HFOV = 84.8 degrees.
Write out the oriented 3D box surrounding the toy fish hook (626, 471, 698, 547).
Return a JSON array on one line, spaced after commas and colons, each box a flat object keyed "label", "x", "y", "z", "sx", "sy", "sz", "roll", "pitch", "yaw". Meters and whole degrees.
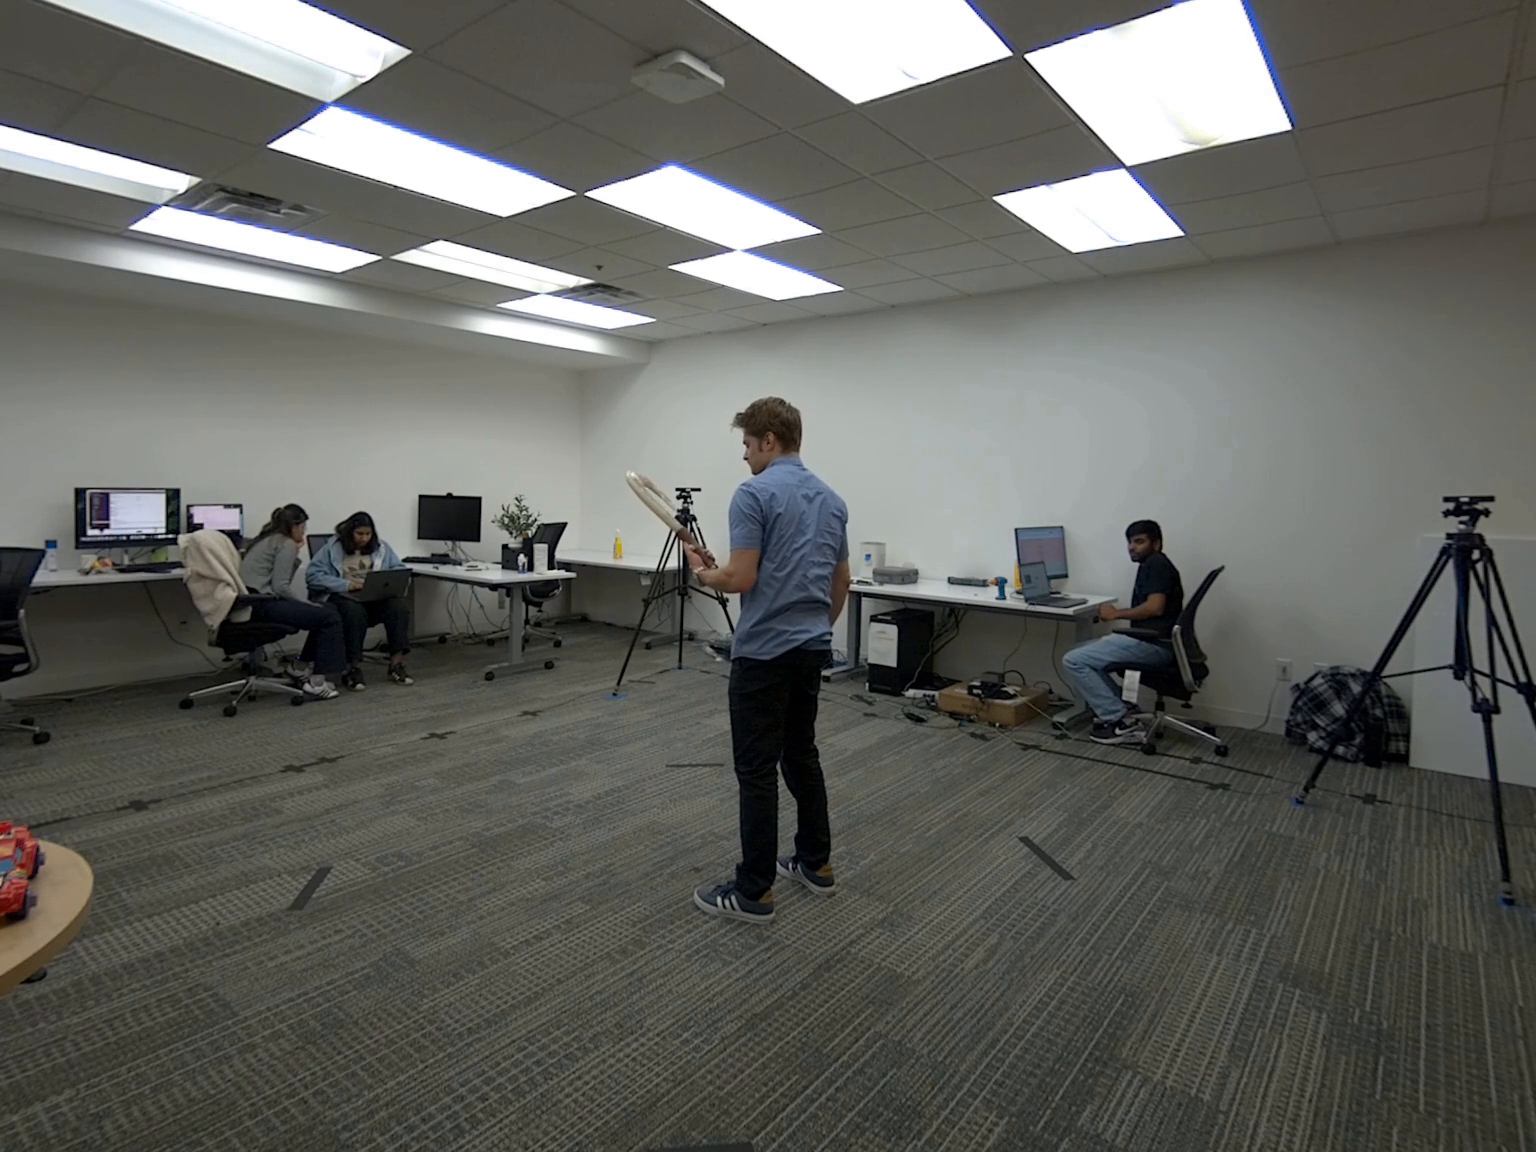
[{"label": "toy fish hook", "x": -0.342, "y": -0.200, "z": 3.093, "sx": 0.048, "sy": 0.518, "sz": 0.219, "roll": -46, "pitch": -16, "yaw": 17}]
